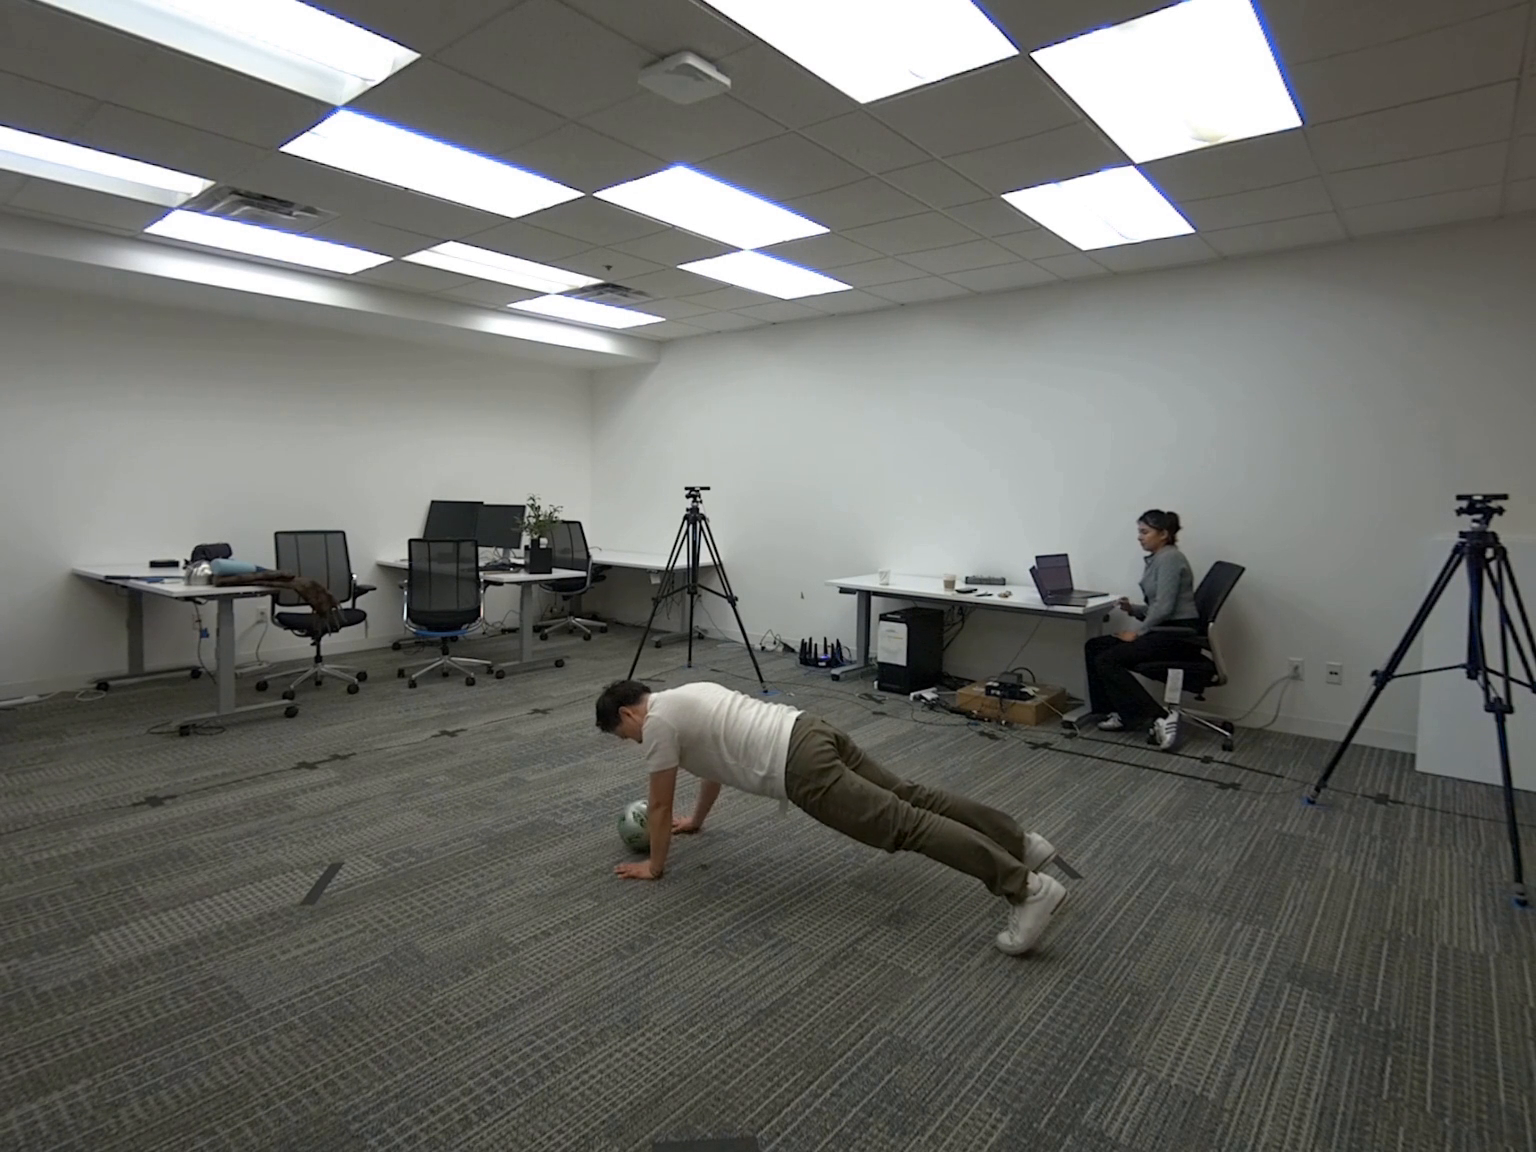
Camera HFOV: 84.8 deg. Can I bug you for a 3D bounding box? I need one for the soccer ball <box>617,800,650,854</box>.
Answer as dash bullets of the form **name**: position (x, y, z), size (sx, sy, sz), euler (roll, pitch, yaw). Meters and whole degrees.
- **soccer ball**: position (-0.489, 0.950, 3.265), size (0.187, 0.187, 0.188), euler (1, 4, -2)
